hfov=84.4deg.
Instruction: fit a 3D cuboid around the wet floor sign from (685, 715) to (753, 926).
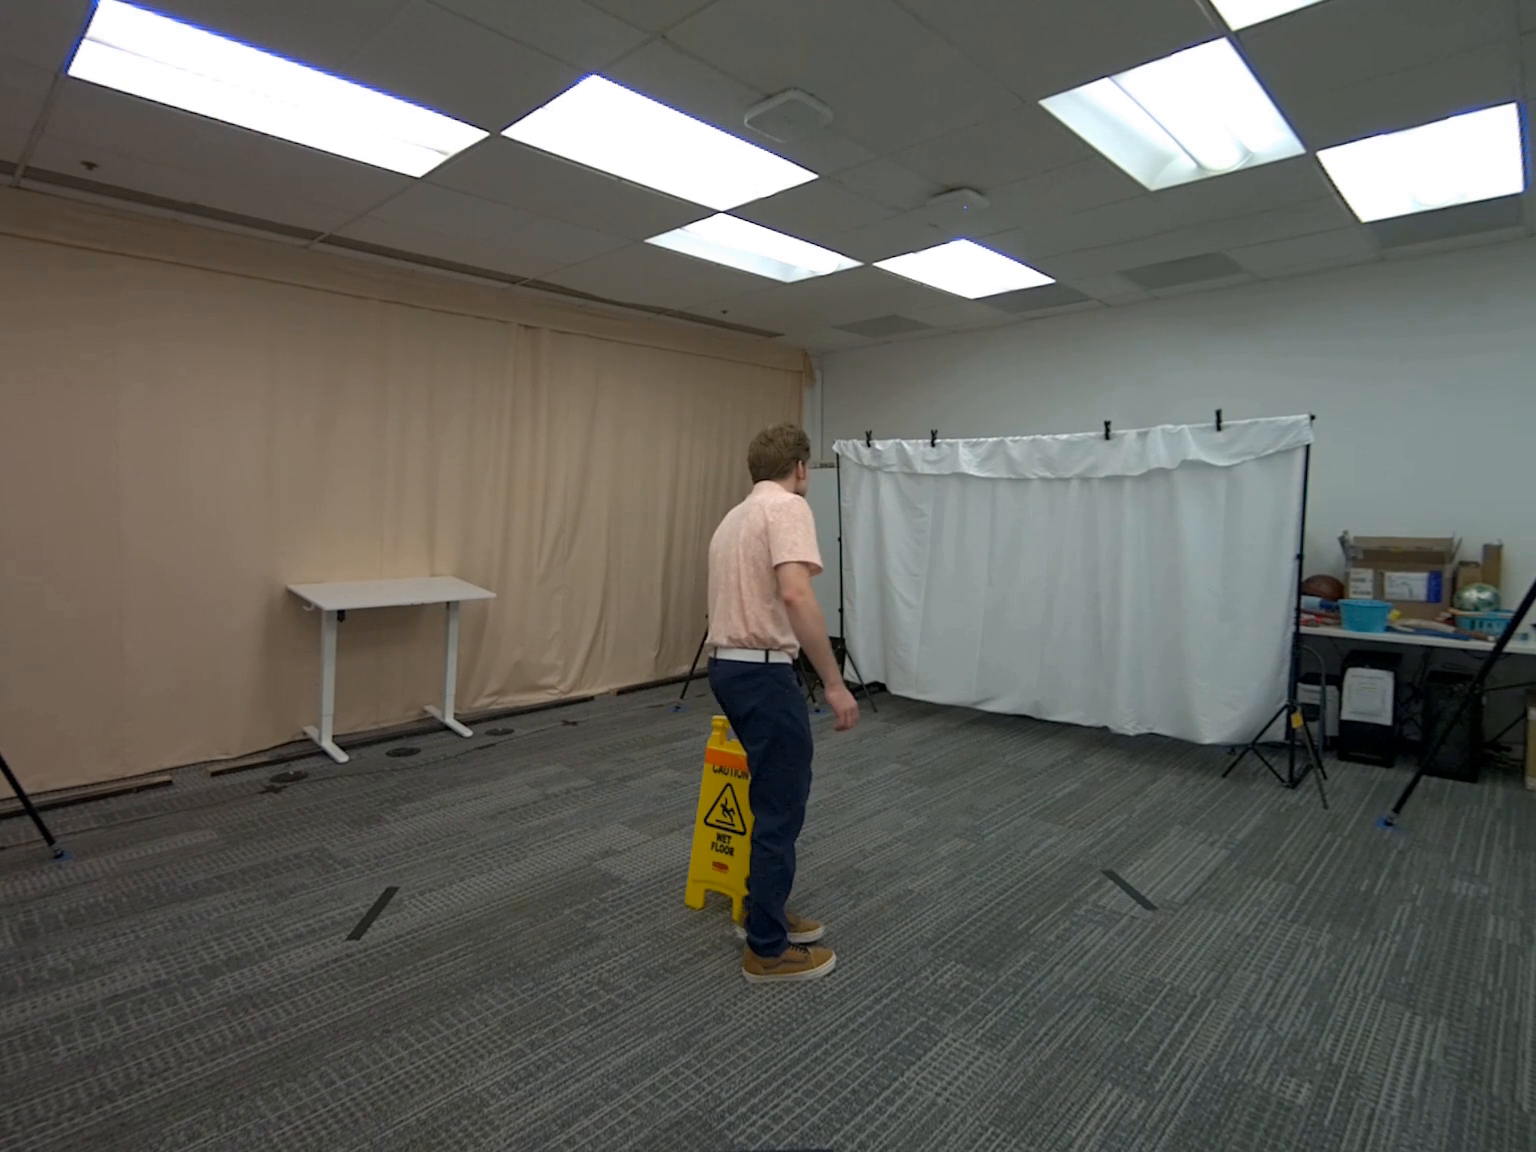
[{"bbox_3d":[-0.105,0.822,2.957,0.291,0.645,0.281,3,4,33],"label":"wet floor sign"}]
